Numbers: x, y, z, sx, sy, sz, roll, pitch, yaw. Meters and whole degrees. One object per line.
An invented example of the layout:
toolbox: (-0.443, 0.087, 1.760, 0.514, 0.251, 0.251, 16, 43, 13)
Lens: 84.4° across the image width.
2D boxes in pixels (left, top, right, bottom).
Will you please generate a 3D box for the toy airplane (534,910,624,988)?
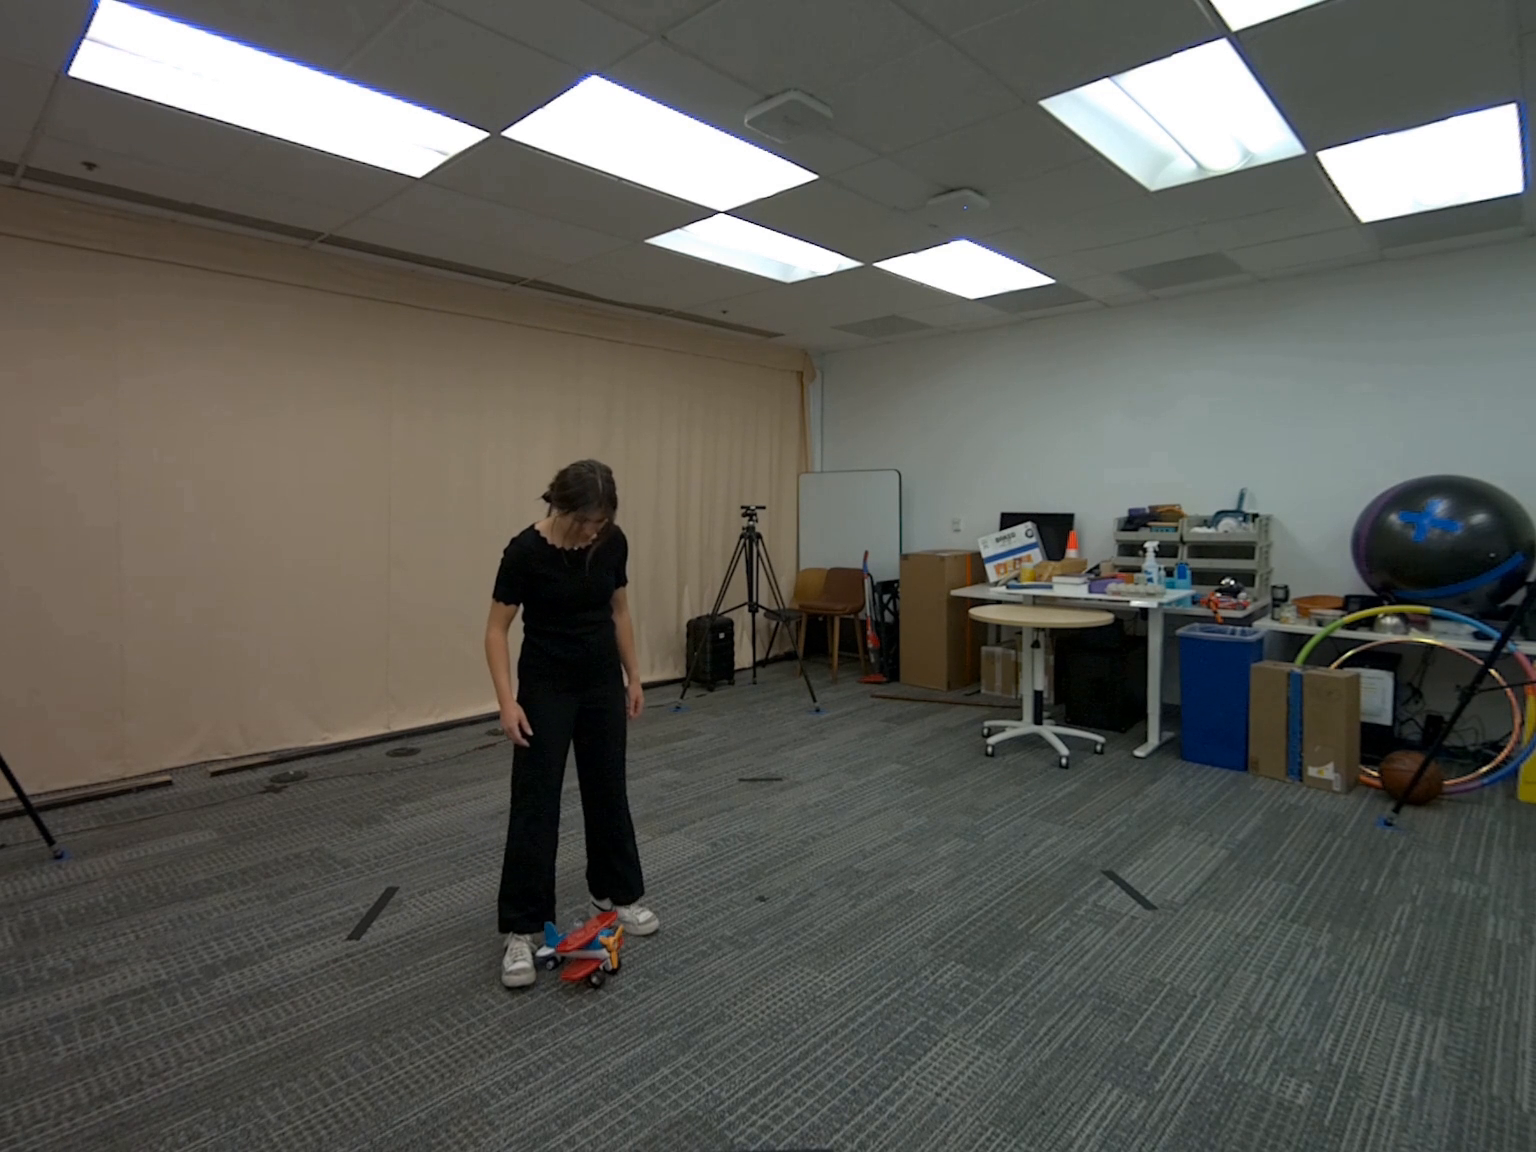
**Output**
toy airplane: (-0.560, 1.111, 2.494, 0.259, 0.156, 0.252, 1, 3, -2)
